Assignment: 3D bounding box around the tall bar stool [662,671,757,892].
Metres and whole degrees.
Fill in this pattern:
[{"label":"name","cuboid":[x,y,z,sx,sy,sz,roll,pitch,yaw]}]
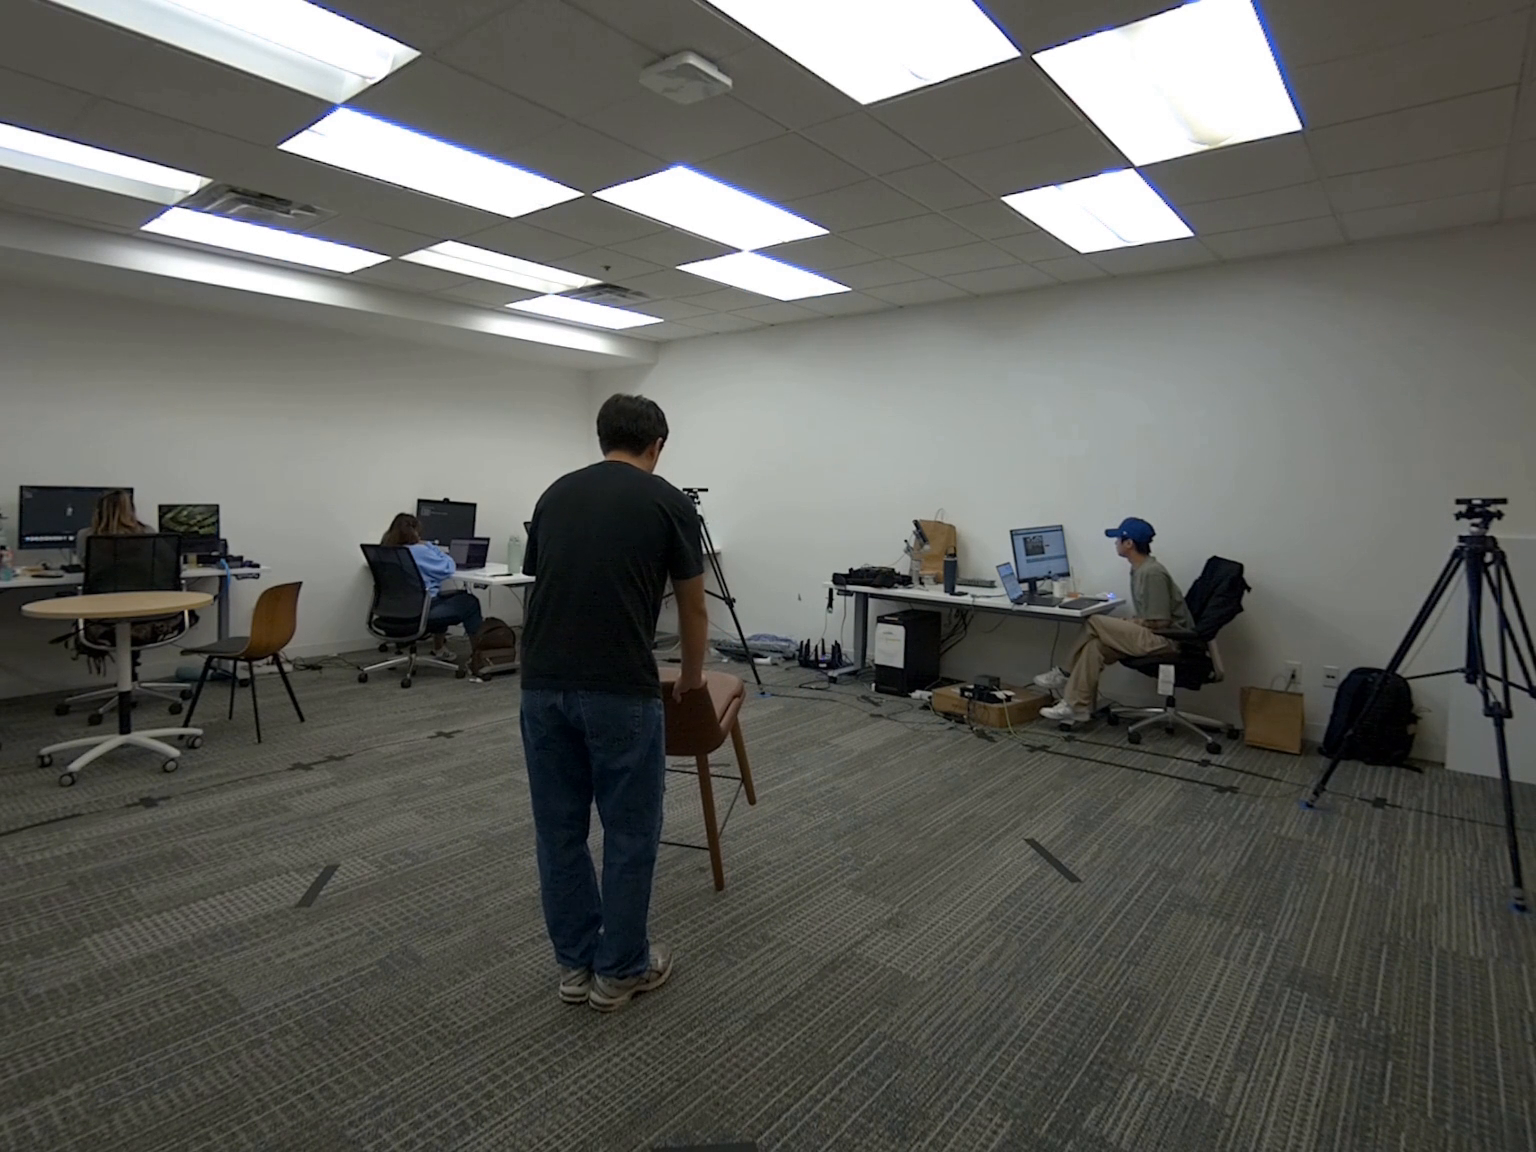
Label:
[{"label":"tall bar stool","cuboid":[-0.332,0.595,3.000,0.465,0.867,0.471,3,29,16]}]
